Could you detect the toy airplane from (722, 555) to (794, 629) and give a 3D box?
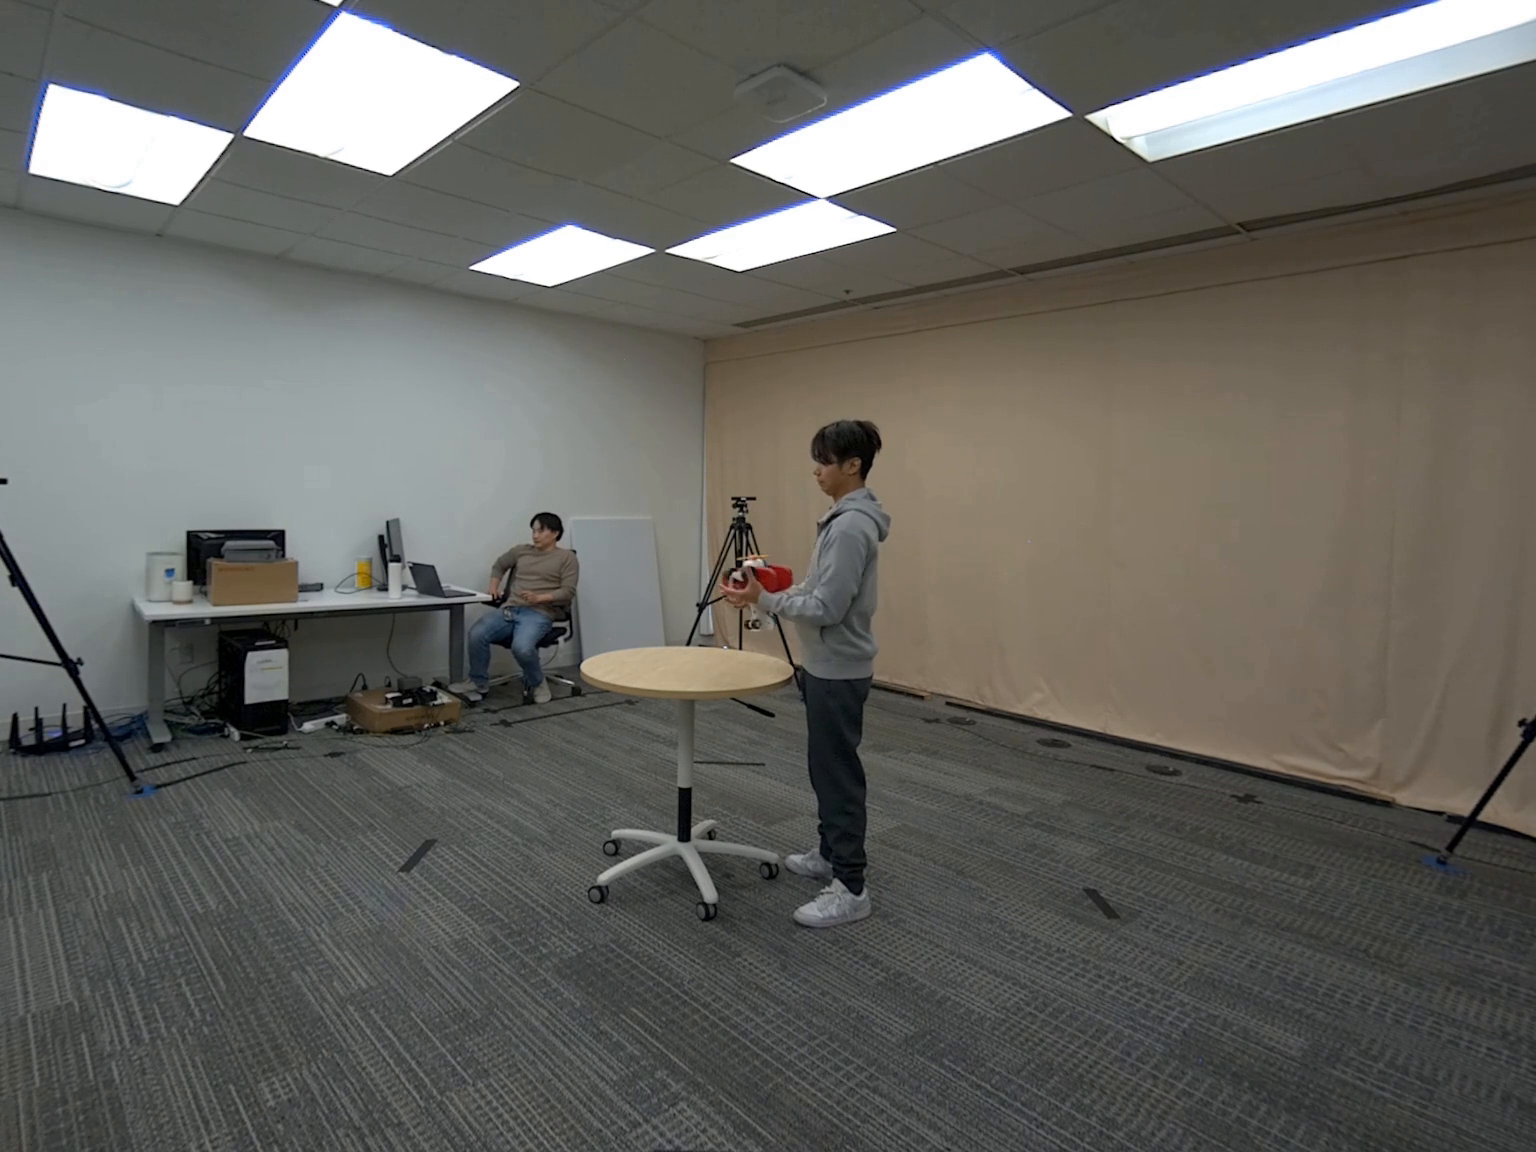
[{"bbox_3d":[-0.067,0.029,2.884,0.258,0.255,0.154,25,34,35],"label":"toy airplane"}]
